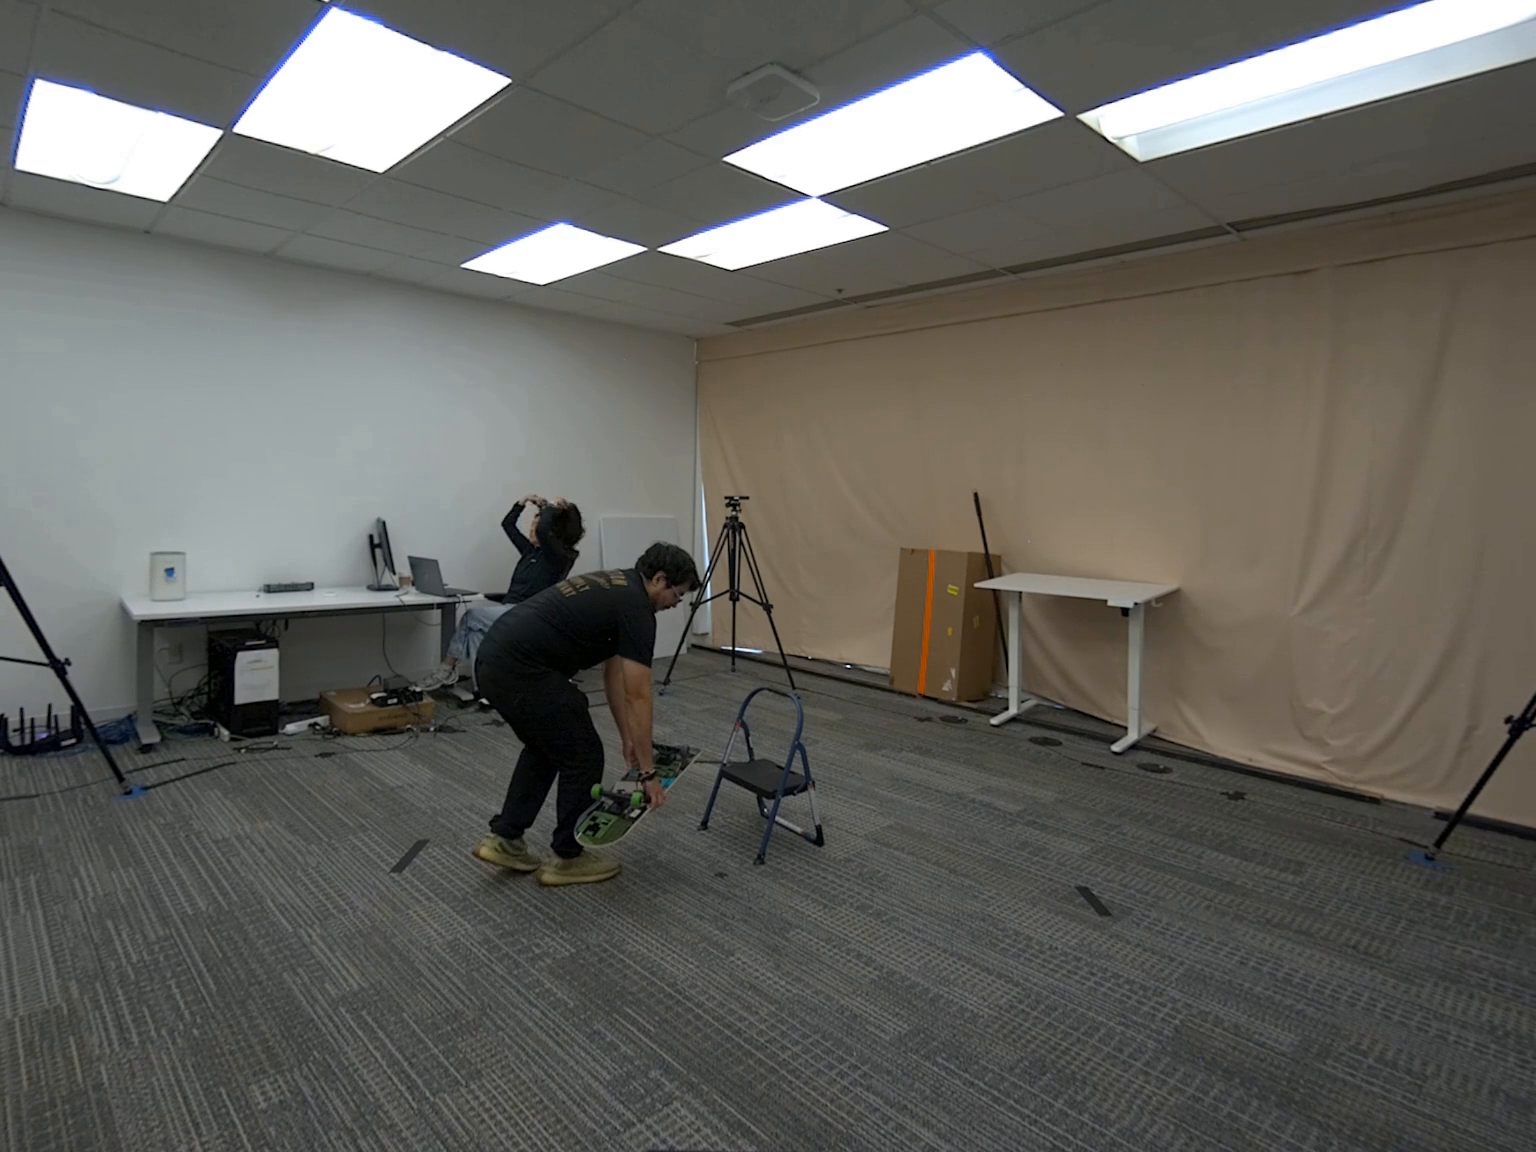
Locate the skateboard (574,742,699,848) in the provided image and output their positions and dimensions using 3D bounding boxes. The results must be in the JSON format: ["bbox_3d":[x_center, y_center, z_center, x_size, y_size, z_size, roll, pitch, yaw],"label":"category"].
[{"bbox_3d":[-0.465,0.749,3.028,0.196,0.109,0.782,3,14,16],"label":"skateboard"}]
